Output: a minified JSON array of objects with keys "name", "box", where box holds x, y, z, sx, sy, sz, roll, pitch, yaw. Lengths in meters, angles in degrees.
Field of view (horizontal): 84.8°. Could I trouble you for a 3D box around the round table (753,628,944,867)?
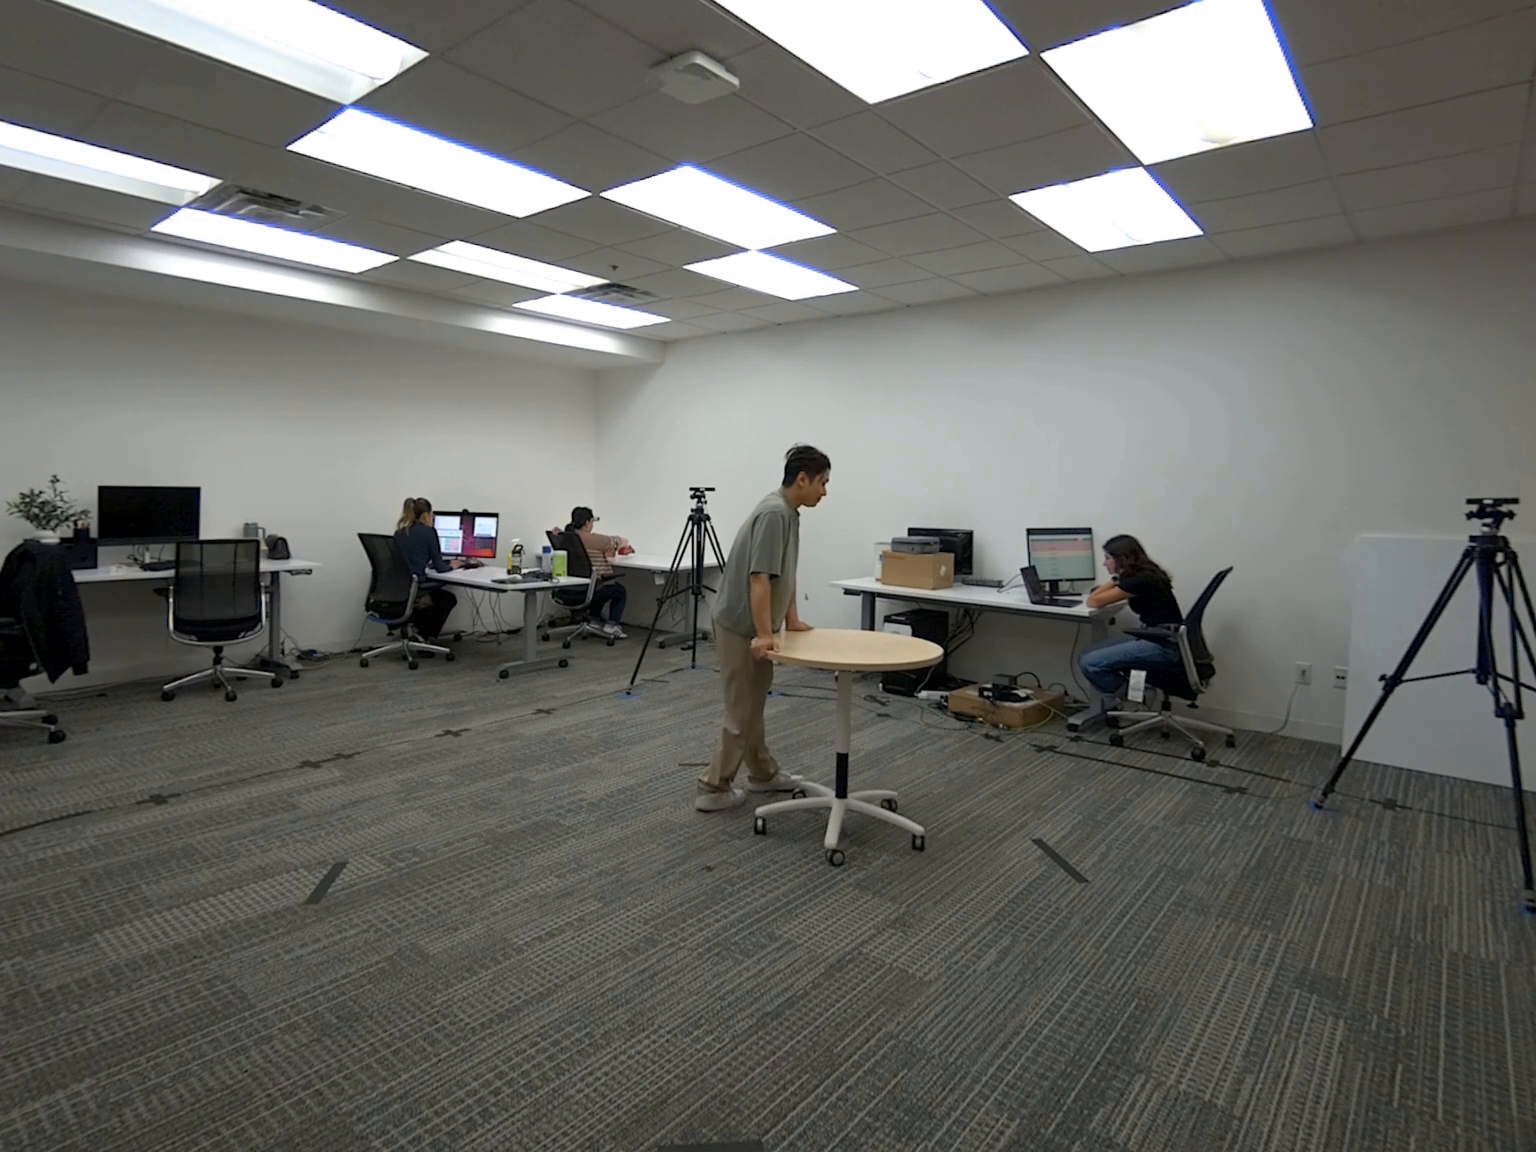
[{"name":"round table","box":[0.286,0.655,3.450,0.784,0.784,0.789,1,5,-2]}]
